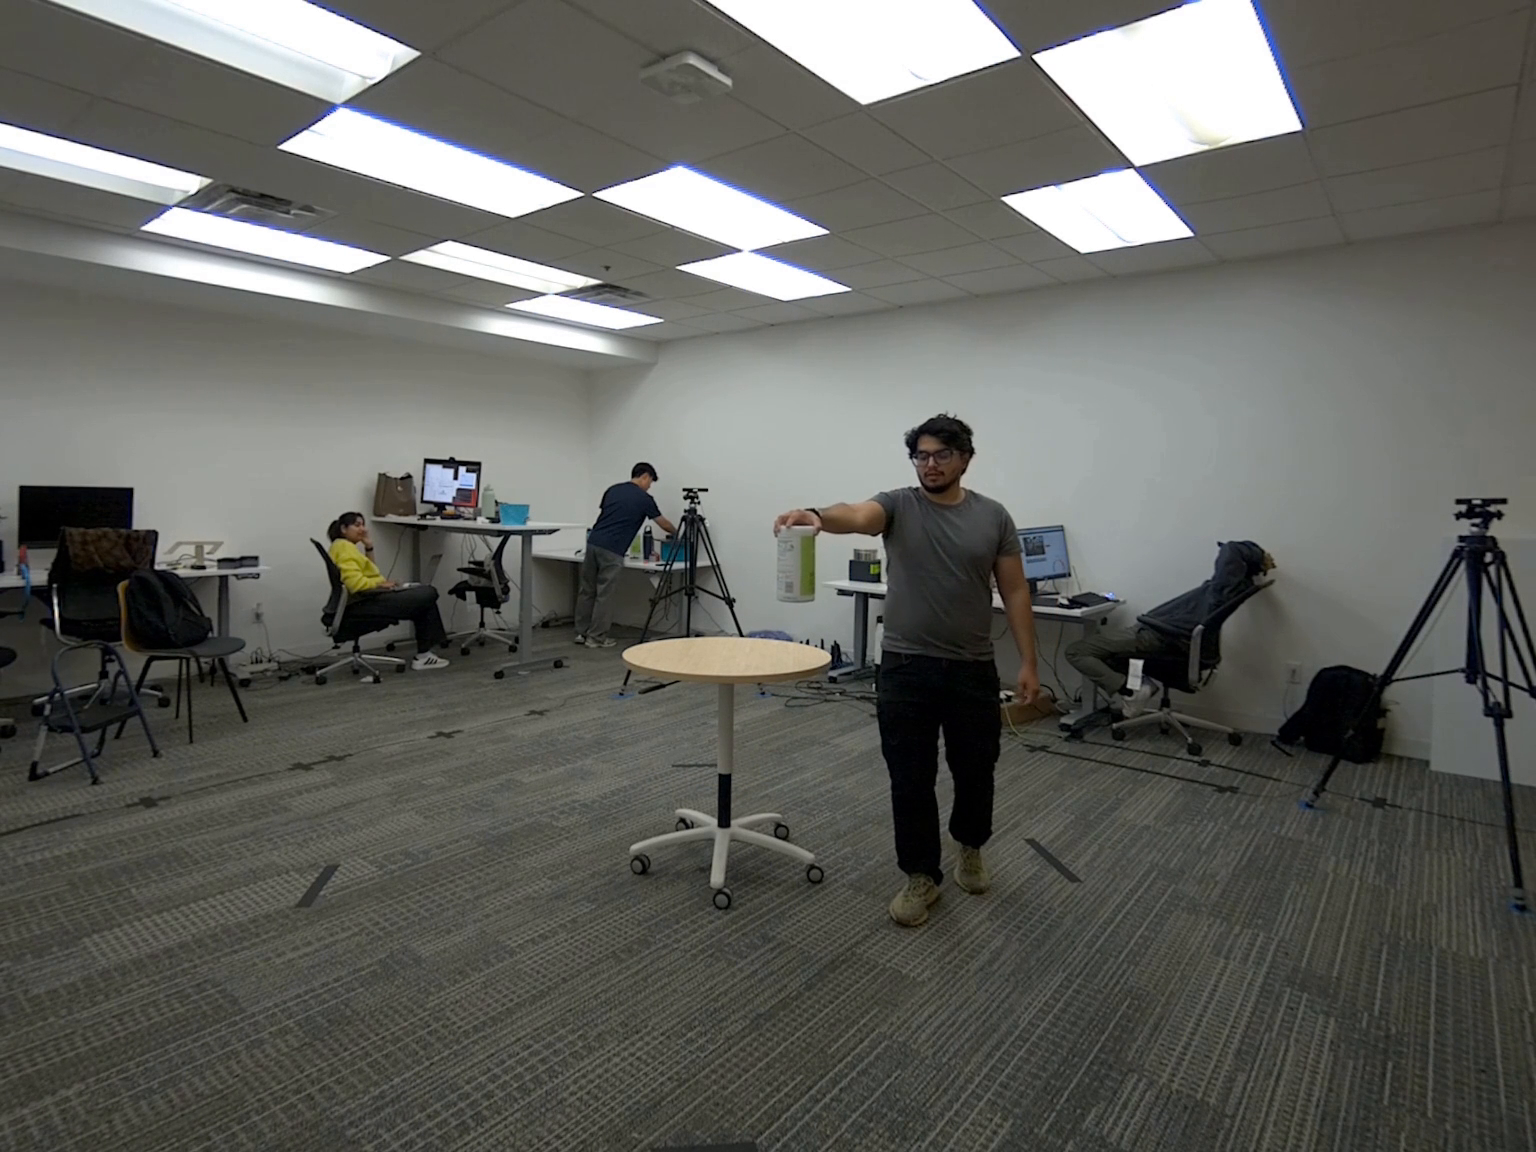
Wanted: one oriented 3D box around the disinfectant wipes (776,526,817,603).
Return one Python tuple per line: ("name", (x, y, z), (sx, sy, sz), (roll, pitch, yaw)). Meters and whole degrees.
("disinfectant wipes", (0.076, -0.043, 2.430), (0.118, 0.217, 0.118), (1, 3, -2))
